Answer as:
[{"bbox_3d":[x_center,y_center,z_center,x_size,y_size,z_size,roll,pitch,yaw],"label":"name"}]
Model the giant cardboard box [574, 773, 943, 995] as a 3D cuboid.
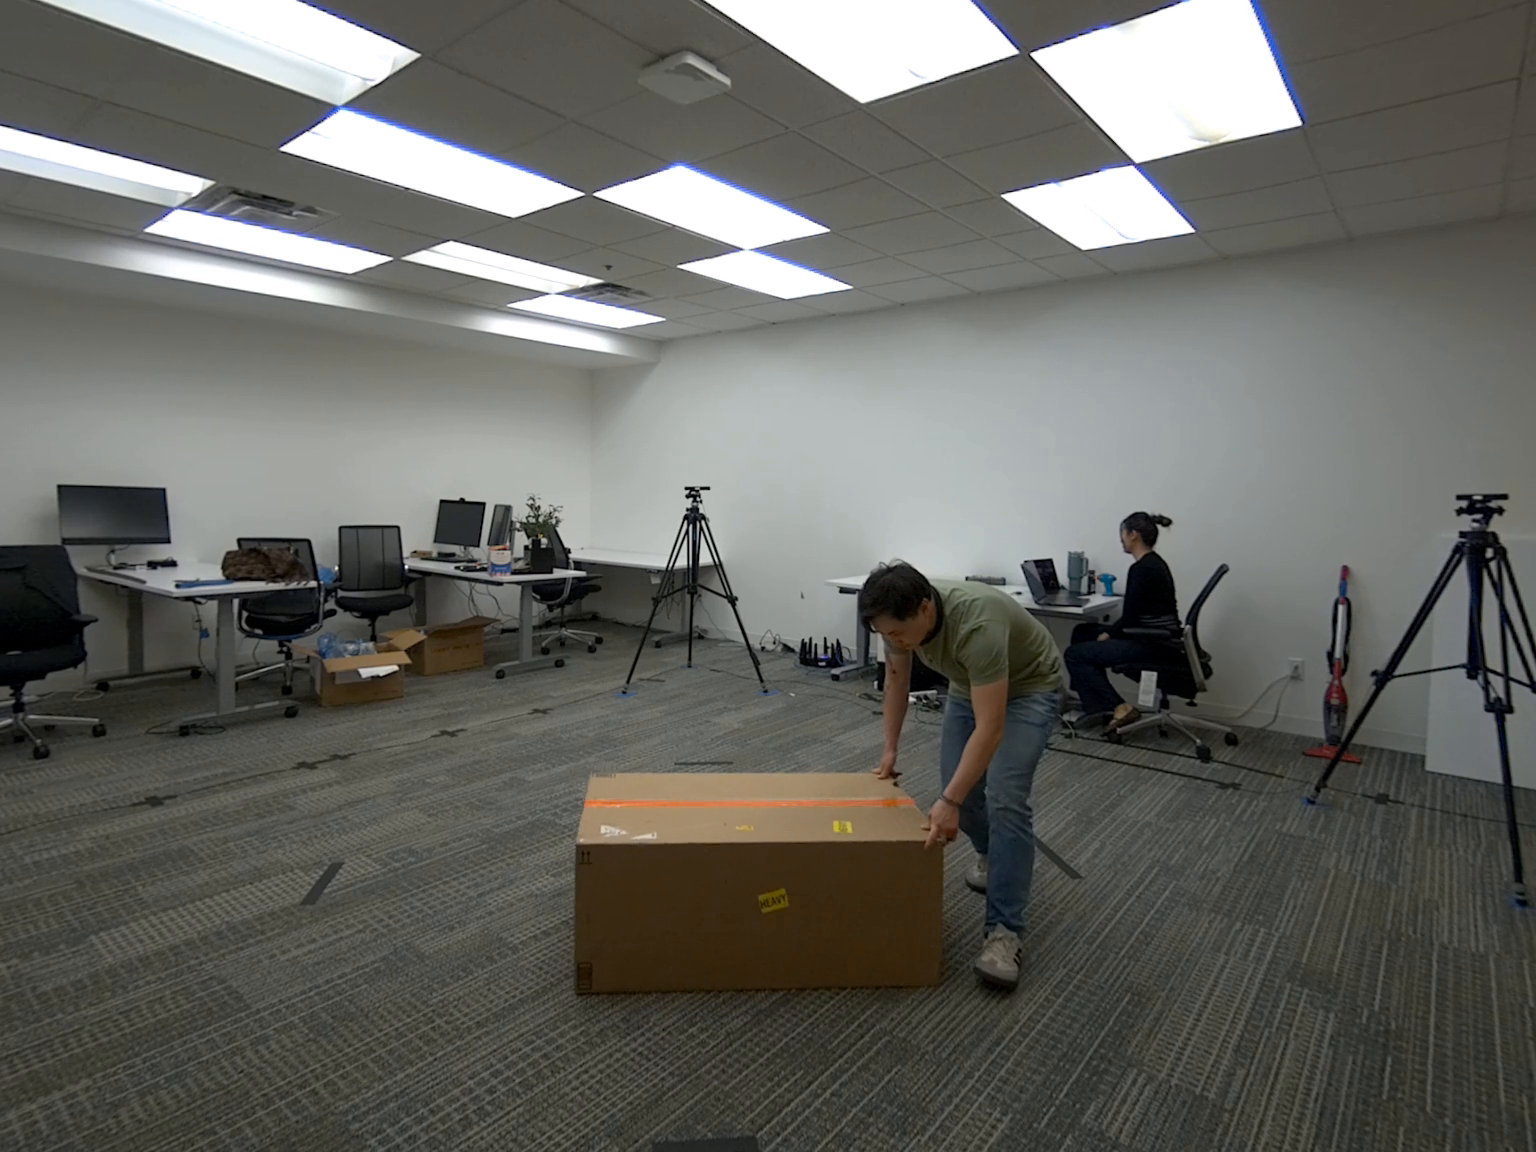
[{"bbox_3d":[-0.070,0.905,2.624,1.020,0.424,0.583,1,5,-5],"label":"giant cardboard box"}]
